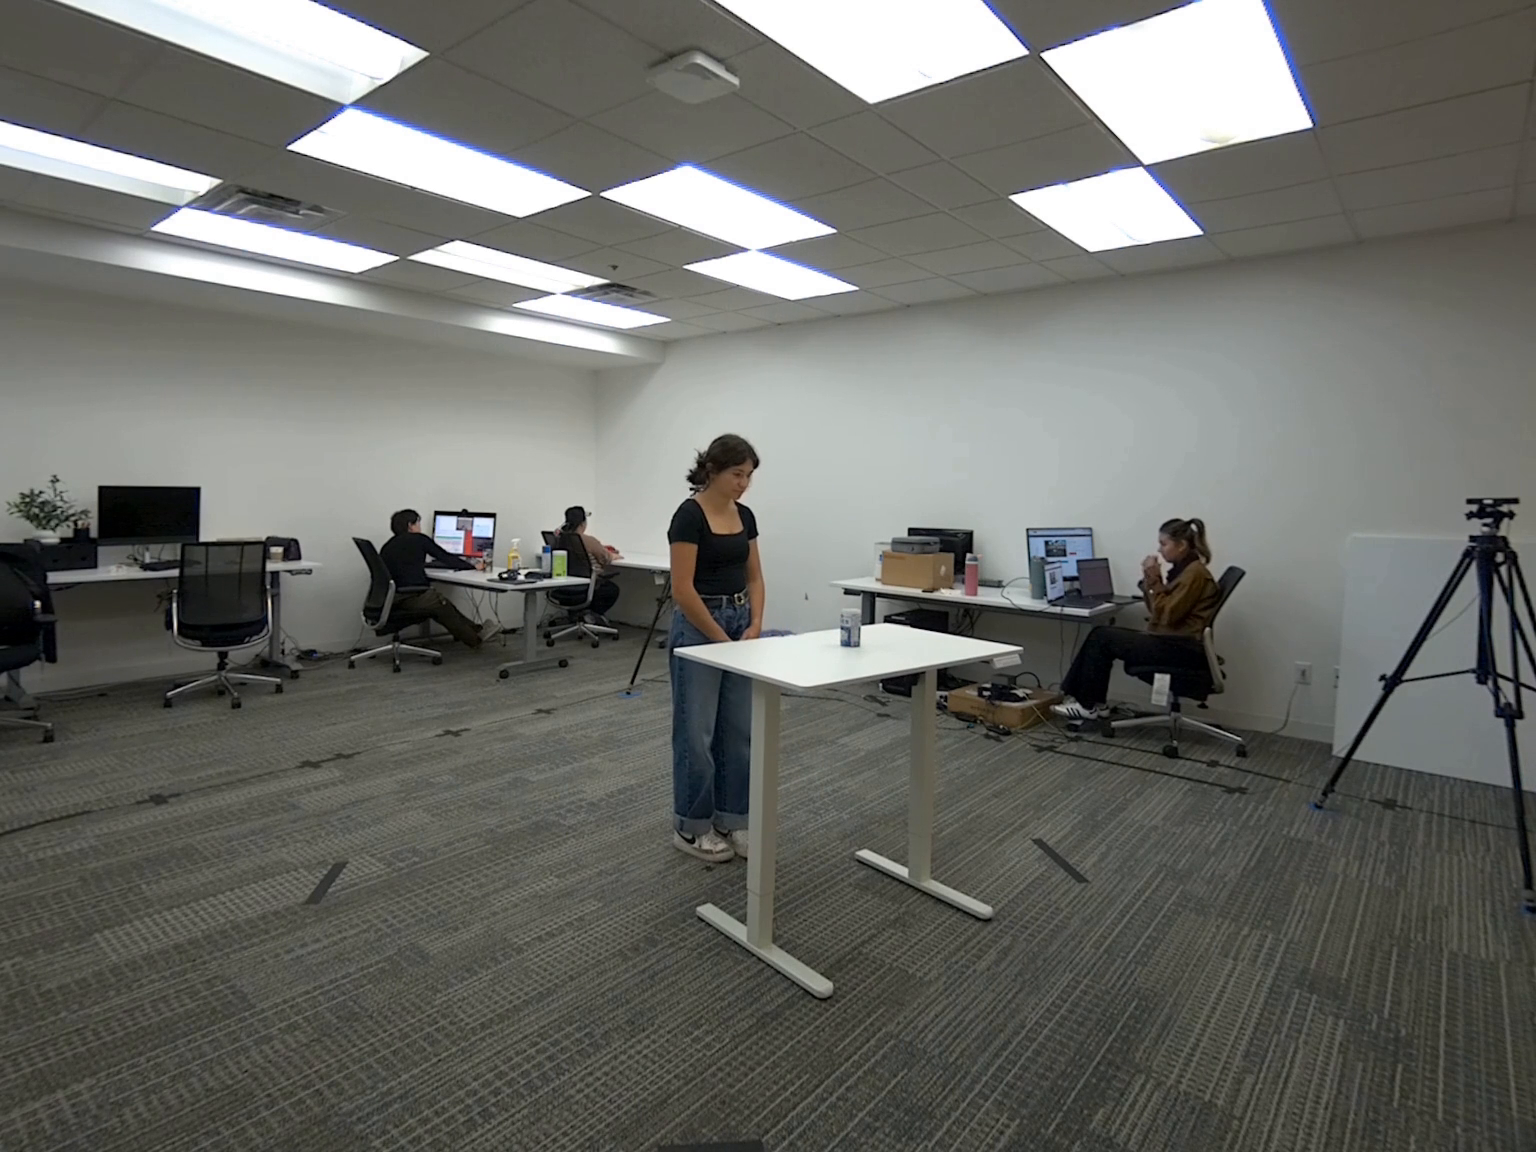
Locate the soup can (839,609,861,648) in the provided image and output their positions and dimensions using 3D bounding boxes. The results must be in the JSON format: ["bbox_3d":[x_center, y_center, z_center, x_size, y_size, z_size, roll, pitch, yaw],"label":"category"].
[{"bbox_3d":[0.264,0.171,2.782,0.067,0.121,0.067,0,4,-2],"label":"soup can"}]
